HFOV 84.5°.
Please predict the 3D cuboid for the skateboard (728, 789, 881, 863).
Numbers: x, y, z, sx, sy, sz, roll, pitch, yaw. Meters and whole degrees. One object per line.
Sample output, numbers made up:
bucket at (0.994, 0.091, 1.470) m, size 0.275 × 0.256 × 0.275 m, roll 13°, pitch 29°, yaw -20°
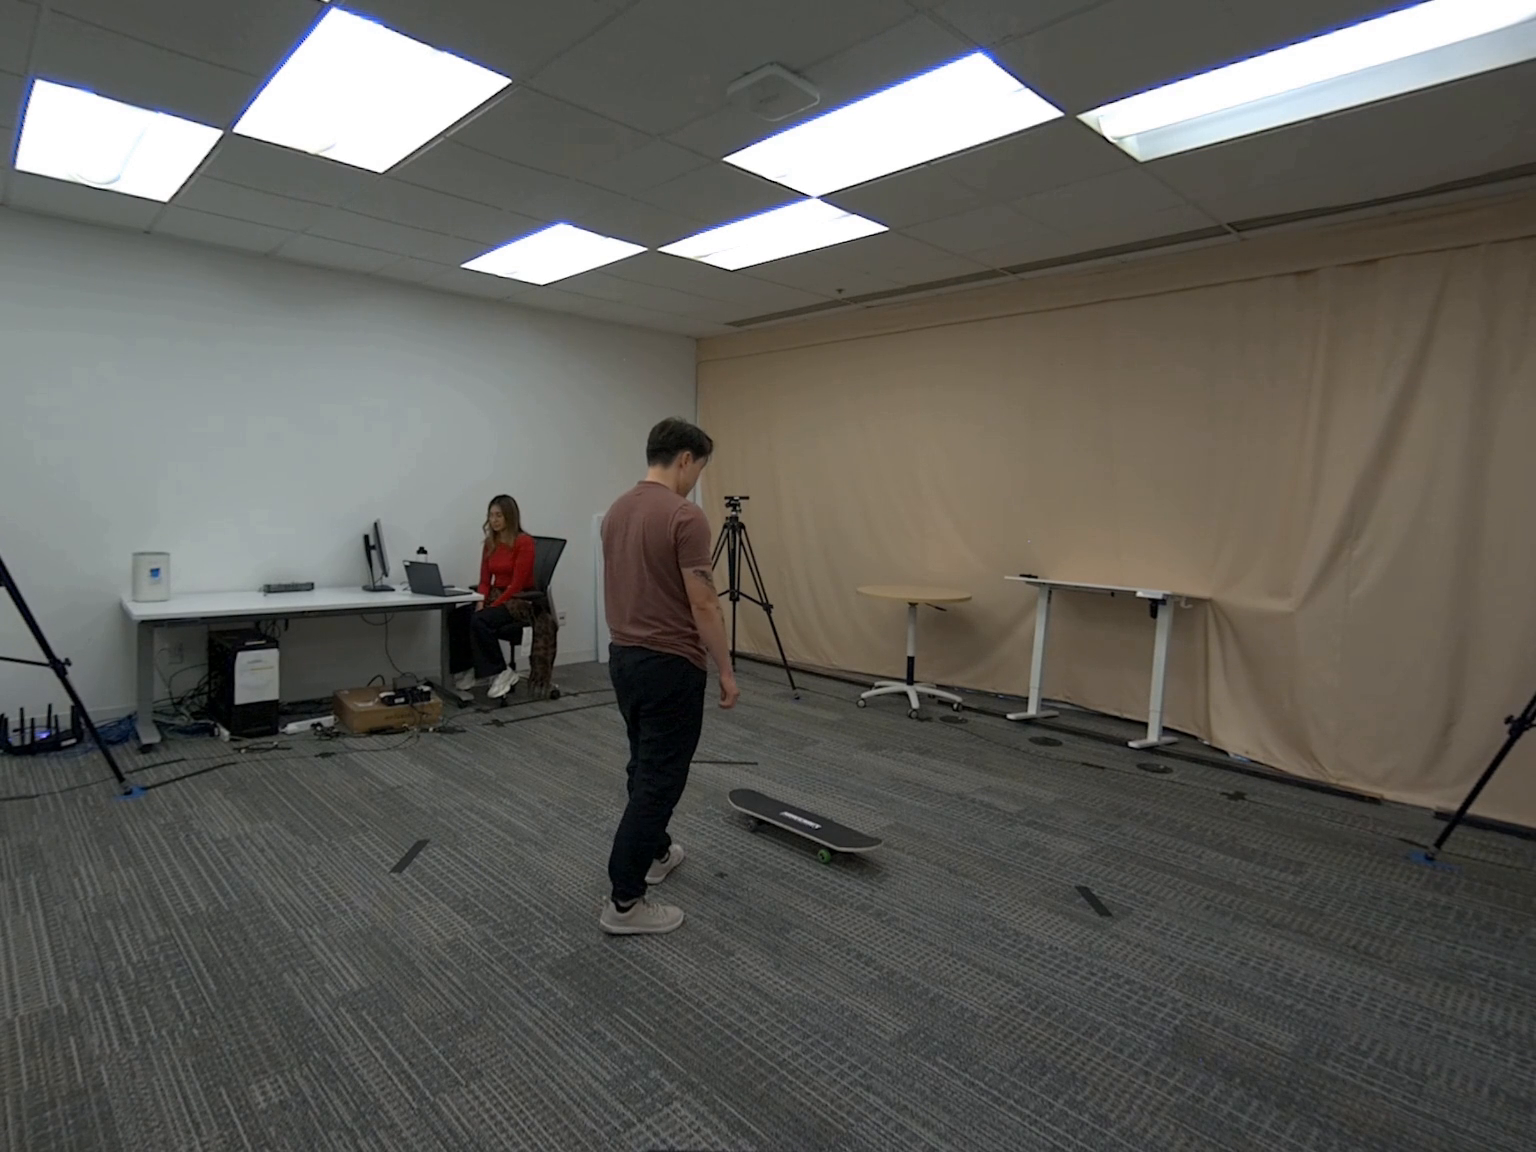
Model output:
skateboard at (0.124, 1.026, 3.432) m, size 0.189 × 0.110 × 0.806 m, roll 0°, pitch 5°, yaw -43°
